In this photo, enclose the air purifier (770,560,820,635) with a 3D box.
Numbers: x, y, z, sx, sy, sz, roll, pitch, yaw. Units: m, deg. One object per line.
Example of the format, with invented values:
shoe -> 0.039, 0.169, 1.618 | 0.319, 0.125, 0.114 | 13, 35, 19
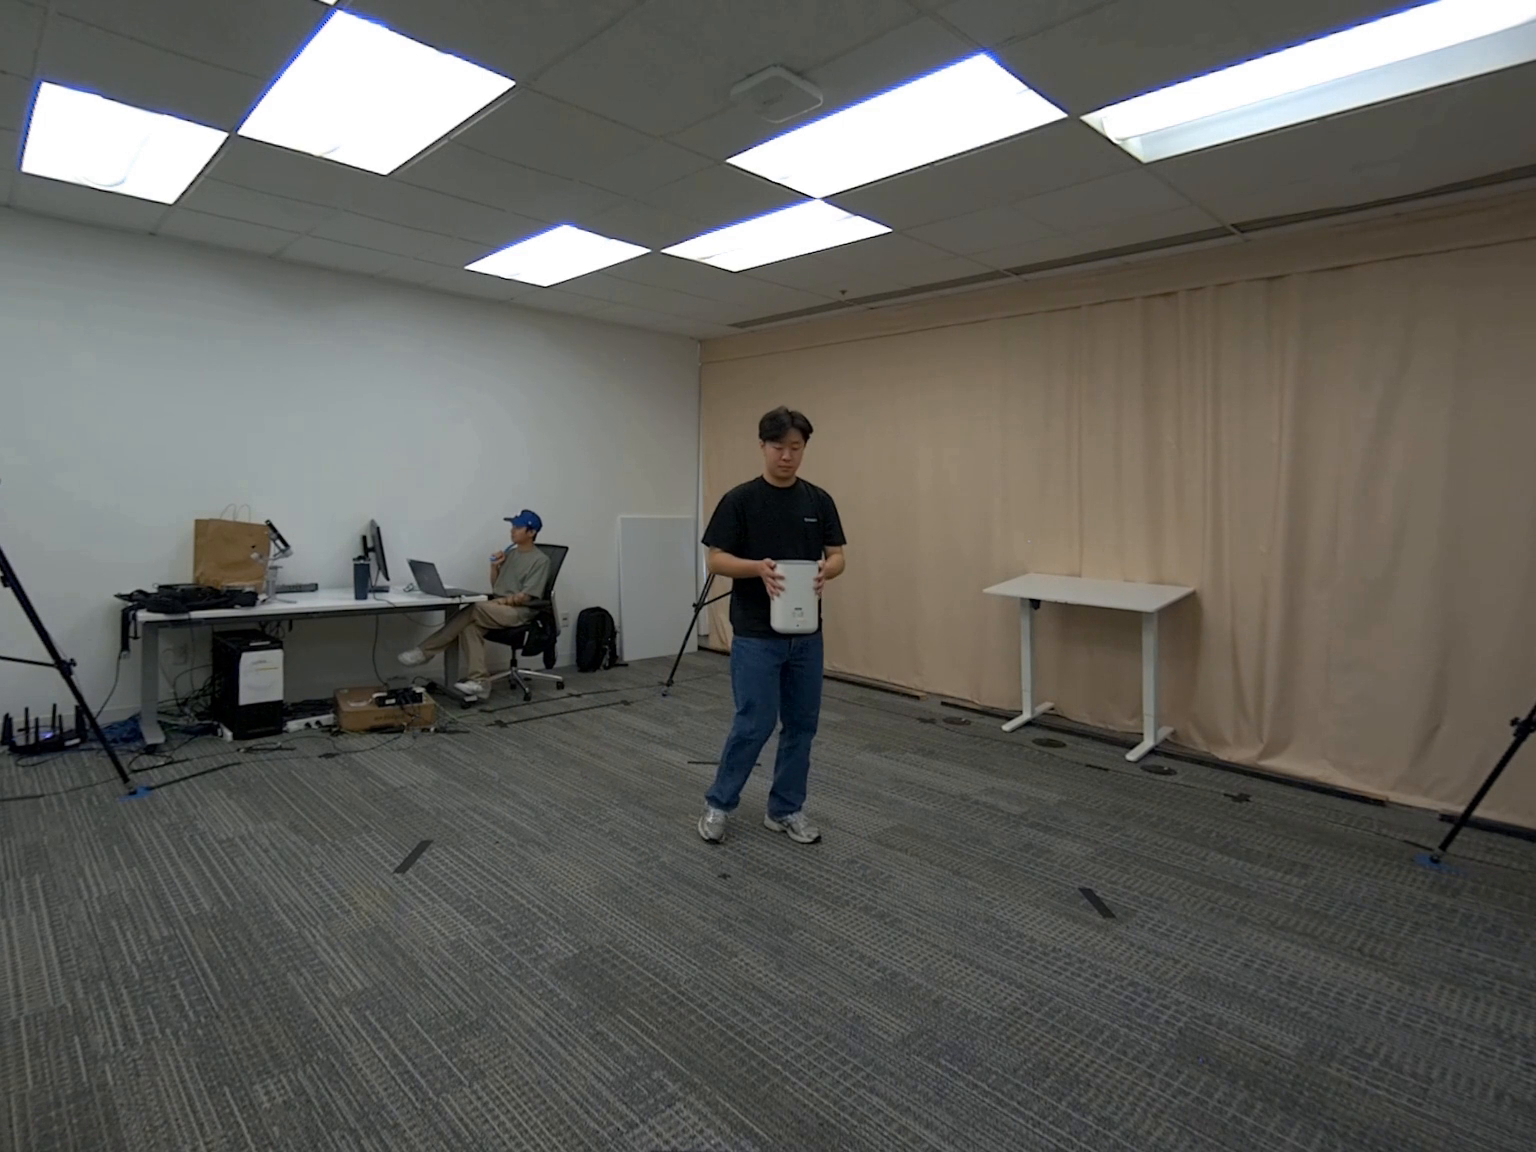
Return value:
air purifier -> 0.084, 0.071, 3.184 | 0.170, 0.265, 0.172 | 1, 3, -5
